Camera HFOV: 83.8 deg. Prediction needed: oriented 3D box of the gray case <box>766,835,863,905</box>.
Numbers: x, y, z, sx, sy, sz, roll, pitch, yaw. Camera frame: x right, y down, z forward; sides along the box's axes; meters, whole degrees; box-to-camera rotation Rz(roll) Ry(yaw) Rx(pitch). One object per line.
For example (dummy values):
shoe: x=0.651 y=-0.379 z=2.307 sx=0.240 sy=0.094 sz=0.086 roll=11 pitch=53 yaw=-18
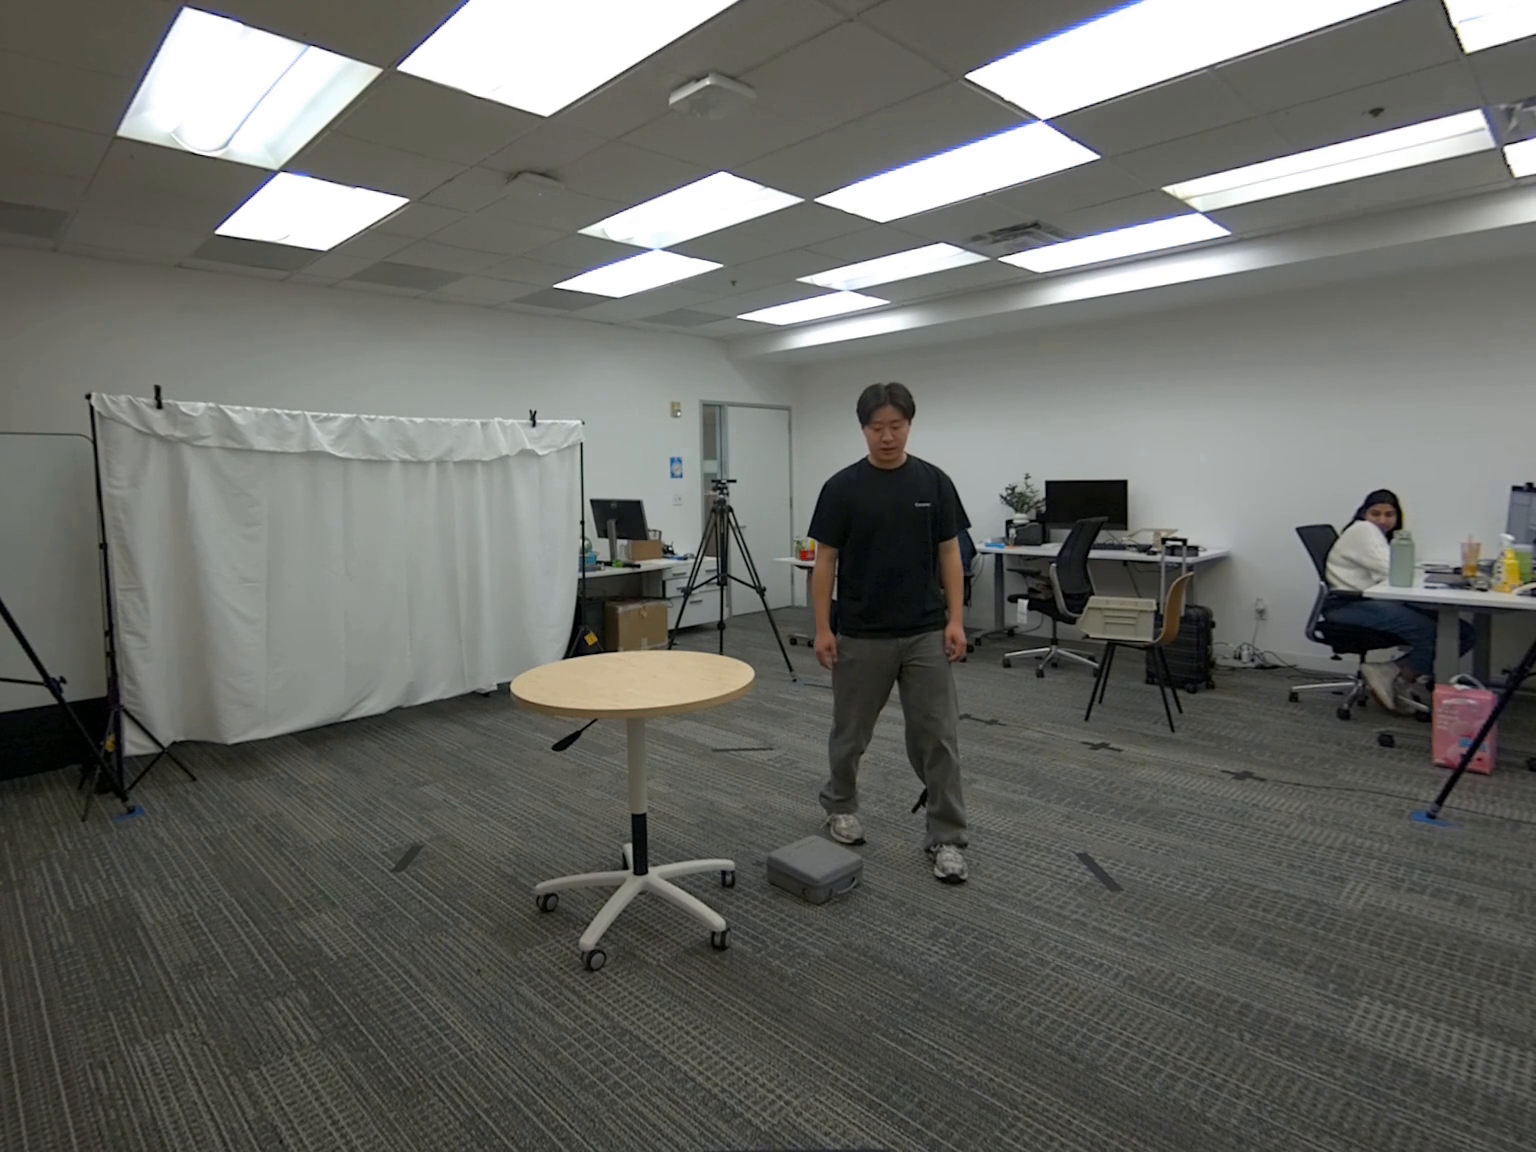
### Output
gray case: x=0.173 y=1.007 z=2.942 sx=0.256 sy=0.102 sz=0.296 roll=-7 pitch=9 yaw=-42
